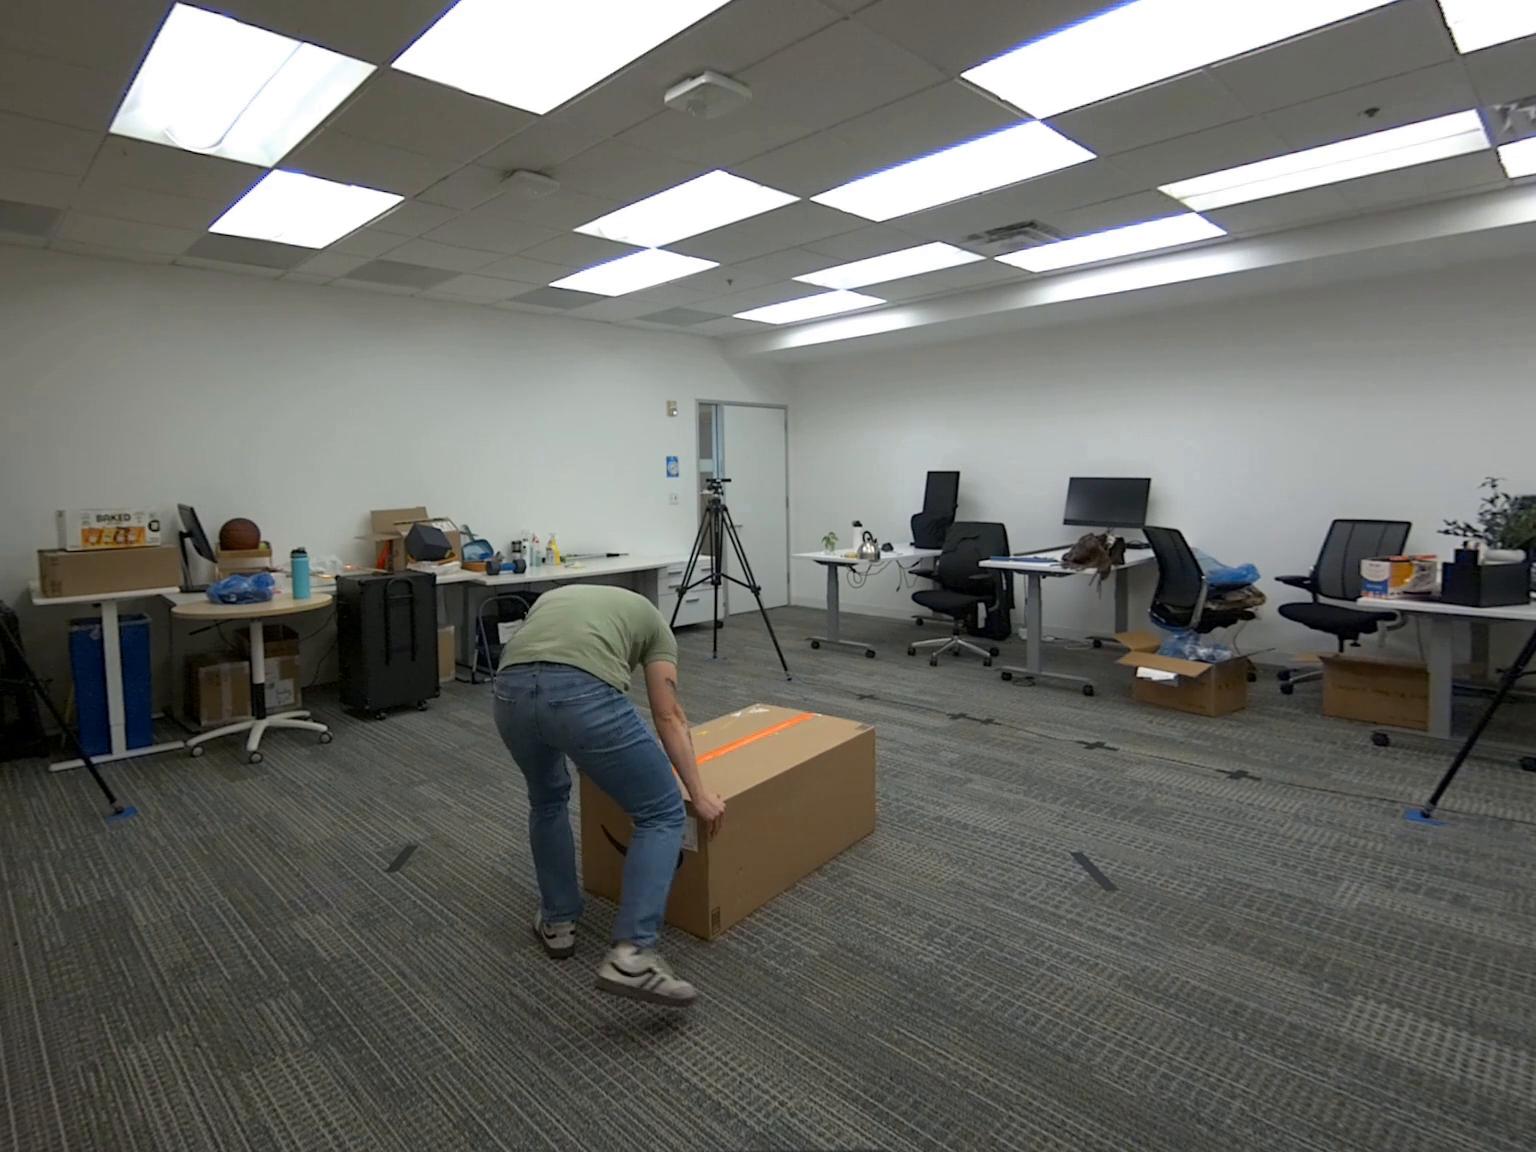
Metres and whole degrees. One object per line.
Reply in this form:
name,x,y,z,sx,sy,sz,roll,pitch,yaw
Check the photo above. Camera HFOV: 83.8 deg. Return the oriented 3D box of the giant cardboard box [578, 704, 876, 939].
giant cardboard box,-0.104,0.829,3.143,0.594,0.424,1.001,2,7,37
